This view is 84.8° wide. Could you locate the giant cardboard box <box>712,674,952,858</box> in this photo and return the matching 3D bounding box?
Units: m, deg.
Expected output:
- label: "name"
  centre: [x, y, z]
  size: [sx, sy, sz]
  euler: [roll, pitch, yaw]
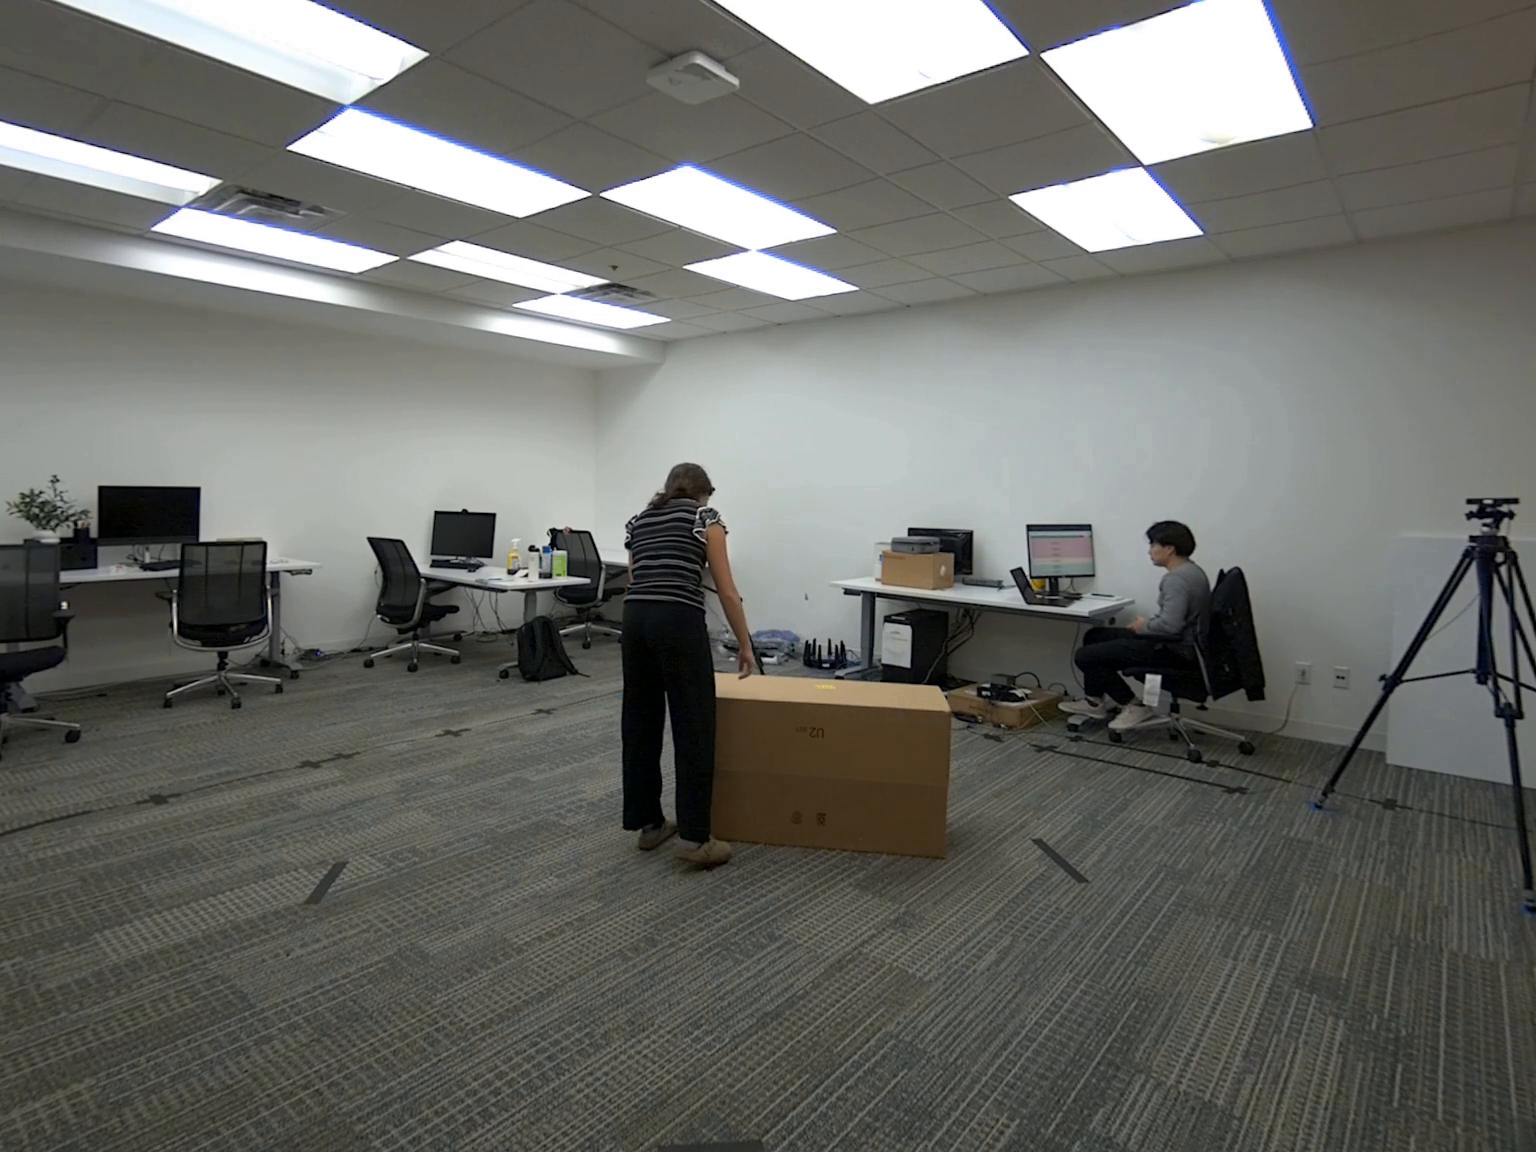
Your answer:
- label: "giant cardboard box"
  centre: [0.192, 0.745, 3.504]
  size: [1.035, 0.576, 0.424]
  euler: [2, 4, 7]
